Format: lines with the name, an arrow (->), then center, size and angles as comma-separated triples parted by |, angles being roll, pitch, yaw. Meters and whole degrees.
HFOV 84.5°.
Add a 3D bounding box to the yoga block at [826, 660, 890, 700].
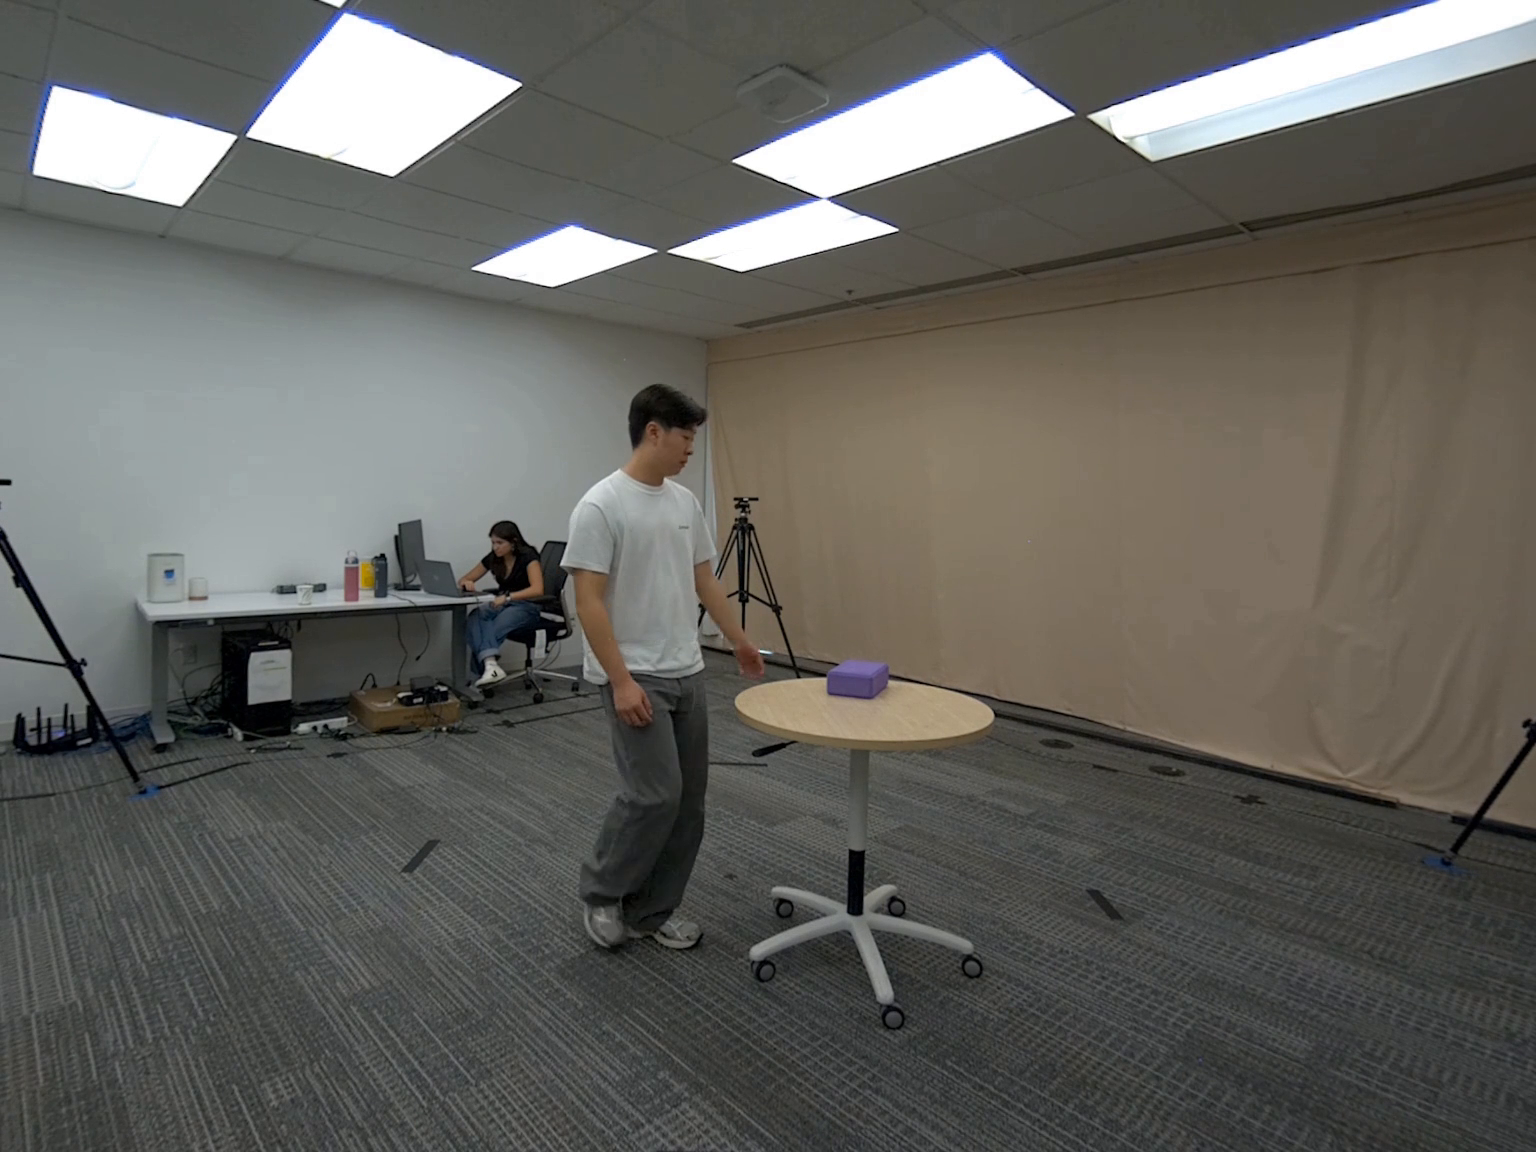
yoga block -> 0.284, 0.334, 2.710 | 0.151, 0.076, 0.226 | 3, 6, 20
